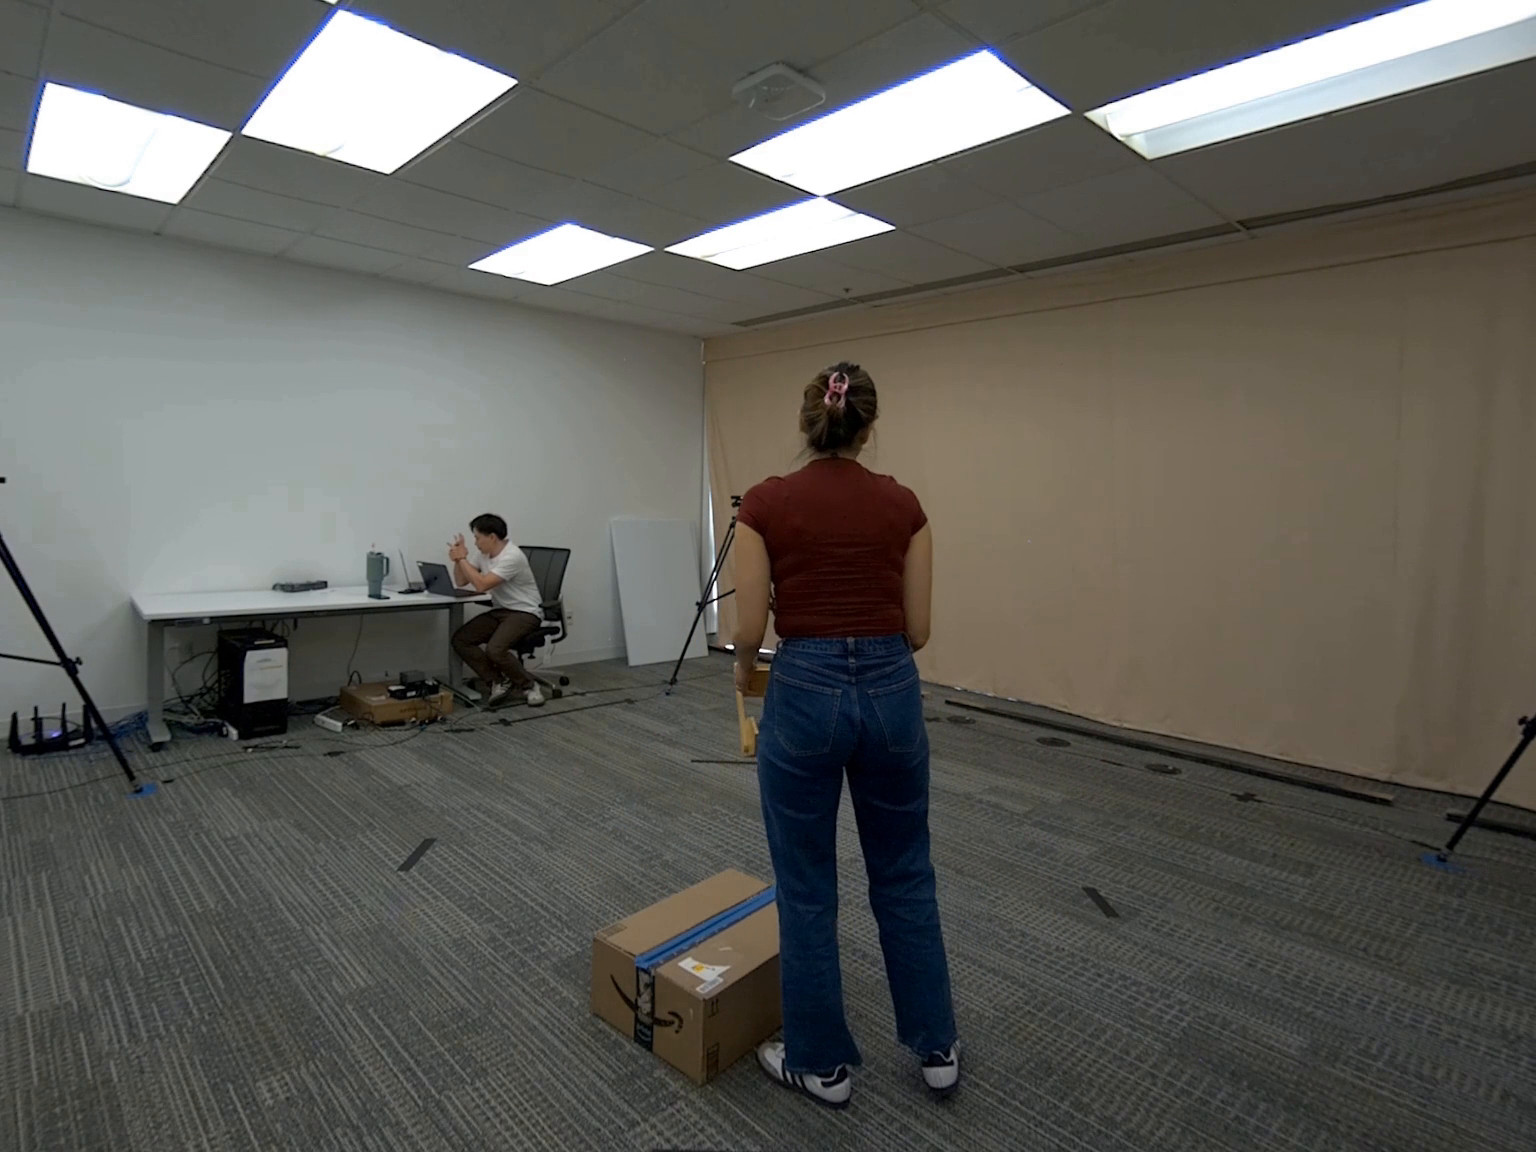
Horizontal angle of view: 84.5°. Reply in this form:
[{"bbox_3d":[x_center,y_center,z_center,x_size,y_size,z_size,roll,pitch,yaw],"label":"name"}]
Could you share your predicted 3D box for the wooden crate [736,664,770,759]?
[{"bbox_3d":[0.090,0.353,2.215,0.322,0.276,0.300,2,-16,-9],"label":"wooden crate"}]
